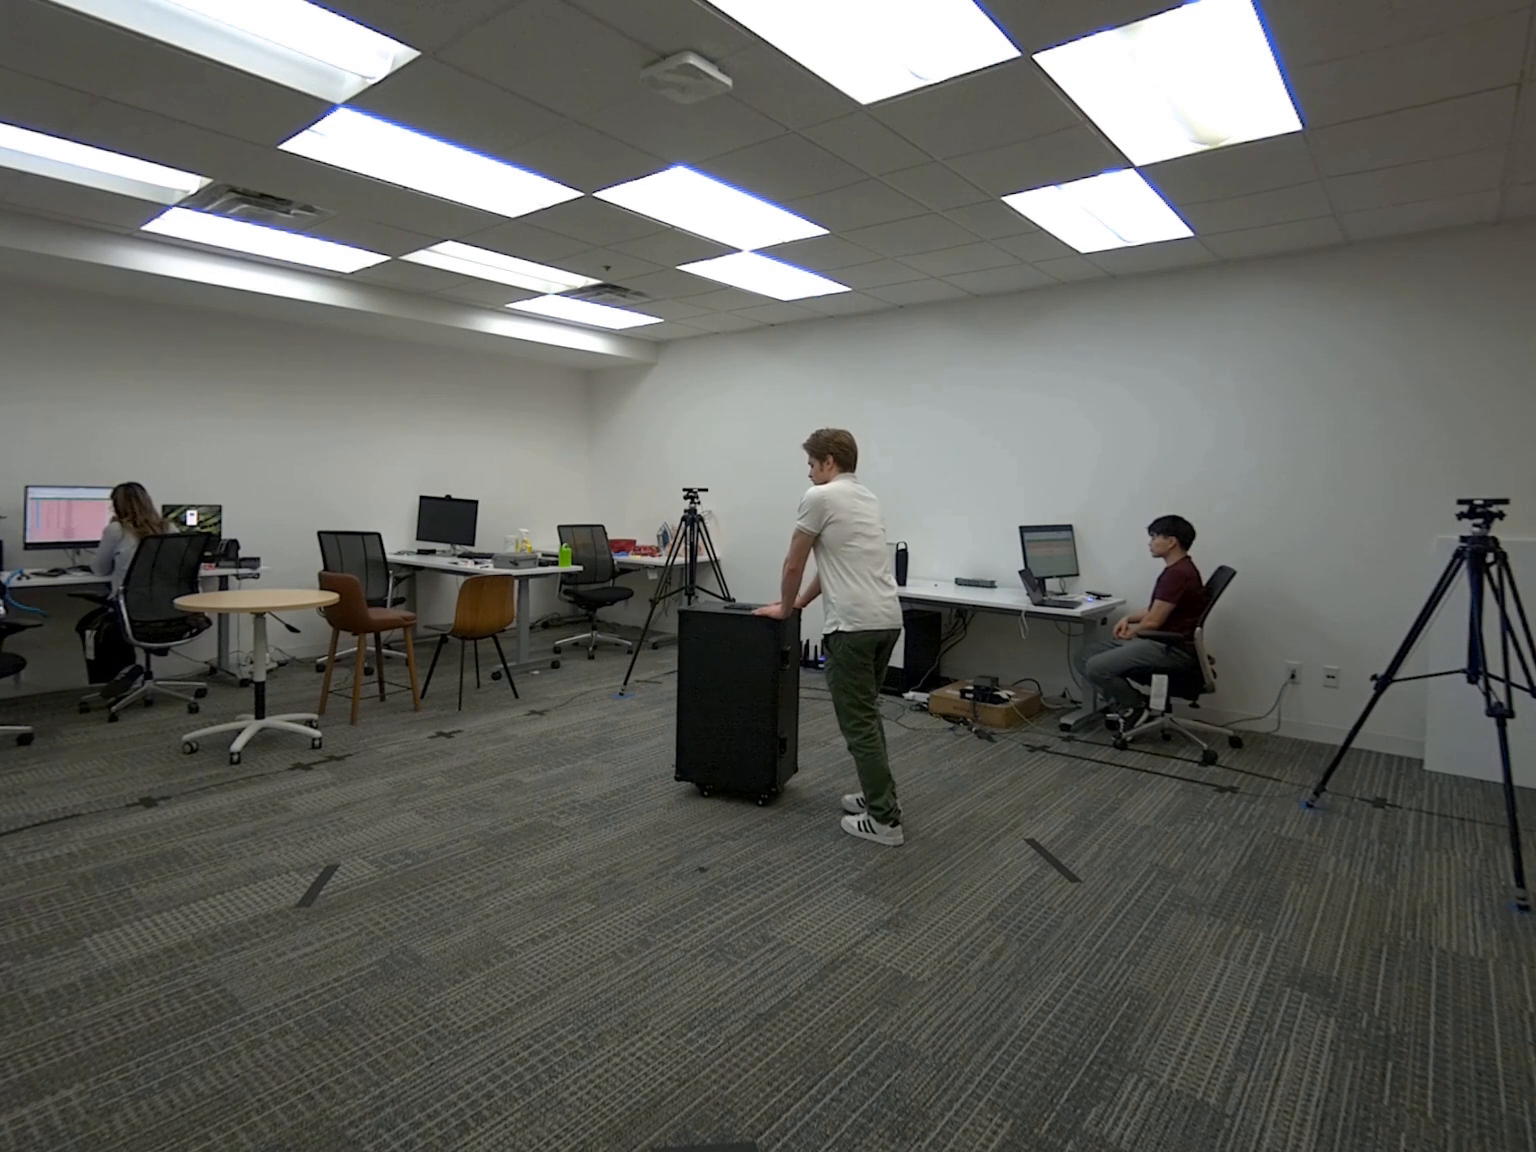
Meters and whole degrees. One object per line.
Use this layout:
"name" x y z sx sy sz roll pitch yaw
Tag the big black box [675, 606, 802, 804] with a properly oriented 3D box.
"big black box" -0.147 0.568 3.924 0.534 0.866 0.378 2 3 19
